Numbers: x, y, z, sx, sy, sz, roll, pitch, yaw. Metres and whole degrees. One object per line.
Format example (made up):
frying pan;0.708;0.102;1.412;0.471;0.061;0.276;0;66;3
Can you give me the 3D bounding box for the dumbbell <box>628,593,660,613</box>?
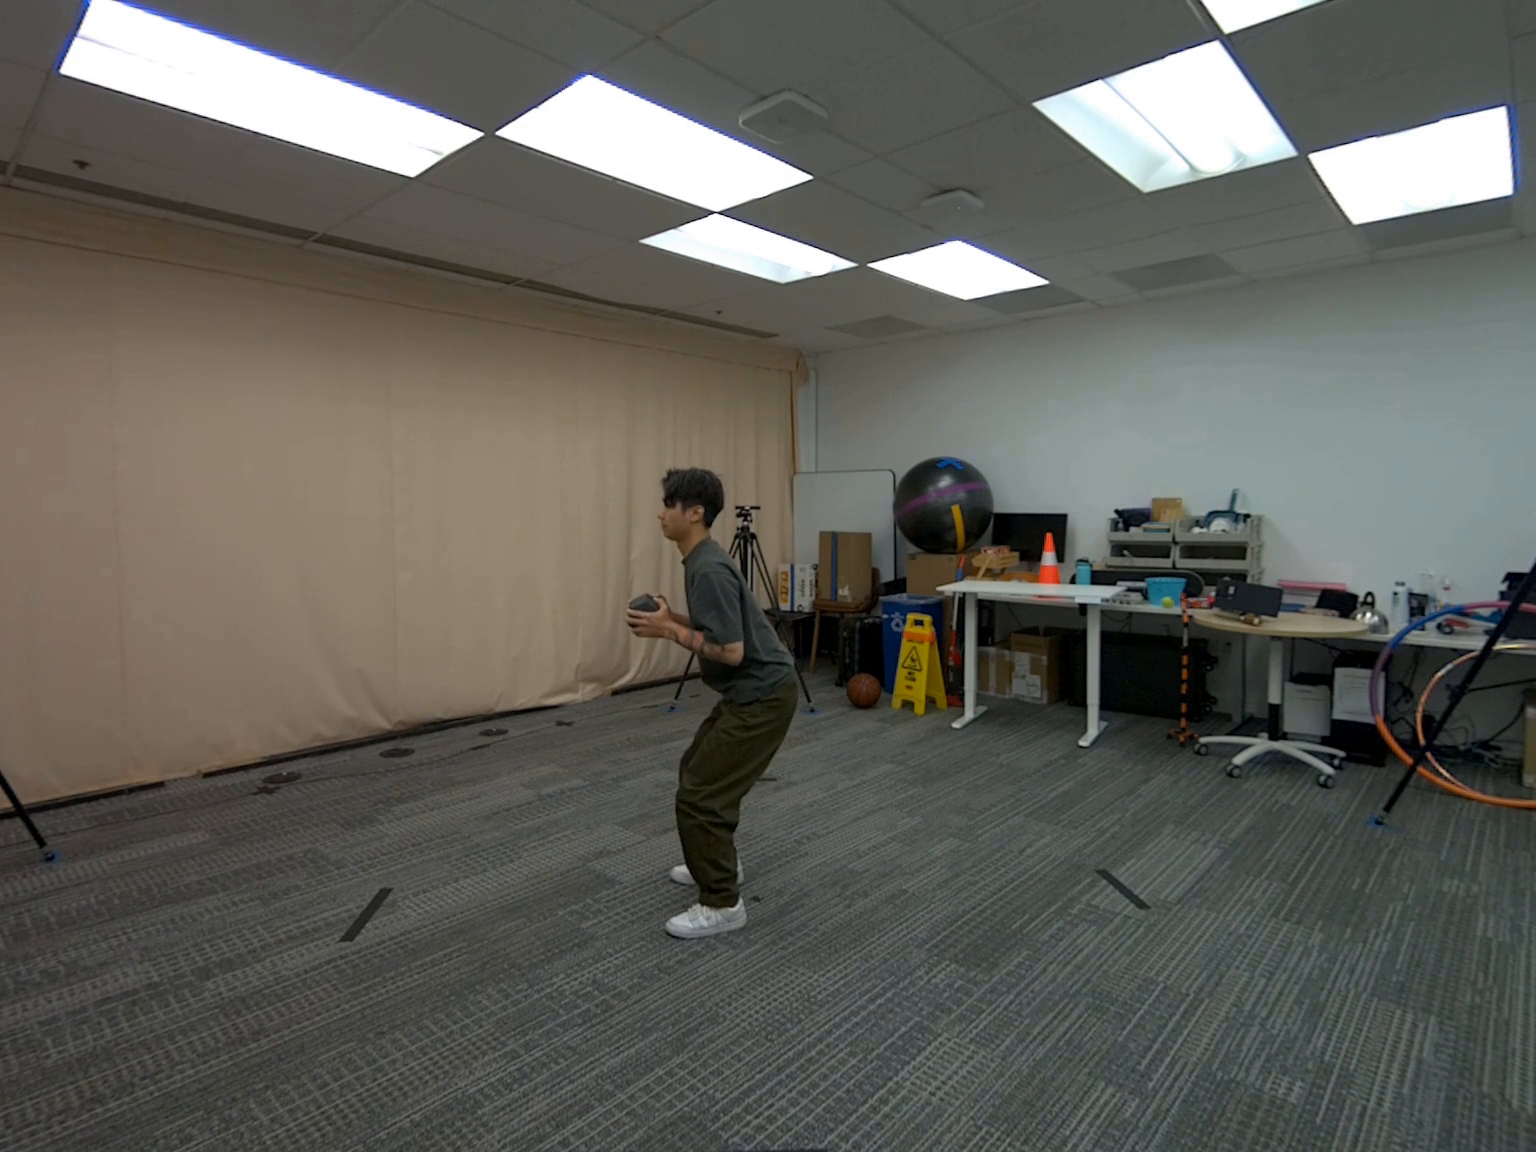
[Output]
dumbbell;-0.407;0.131;2.897;0.122;0.108;0.295;35;-2;-5
